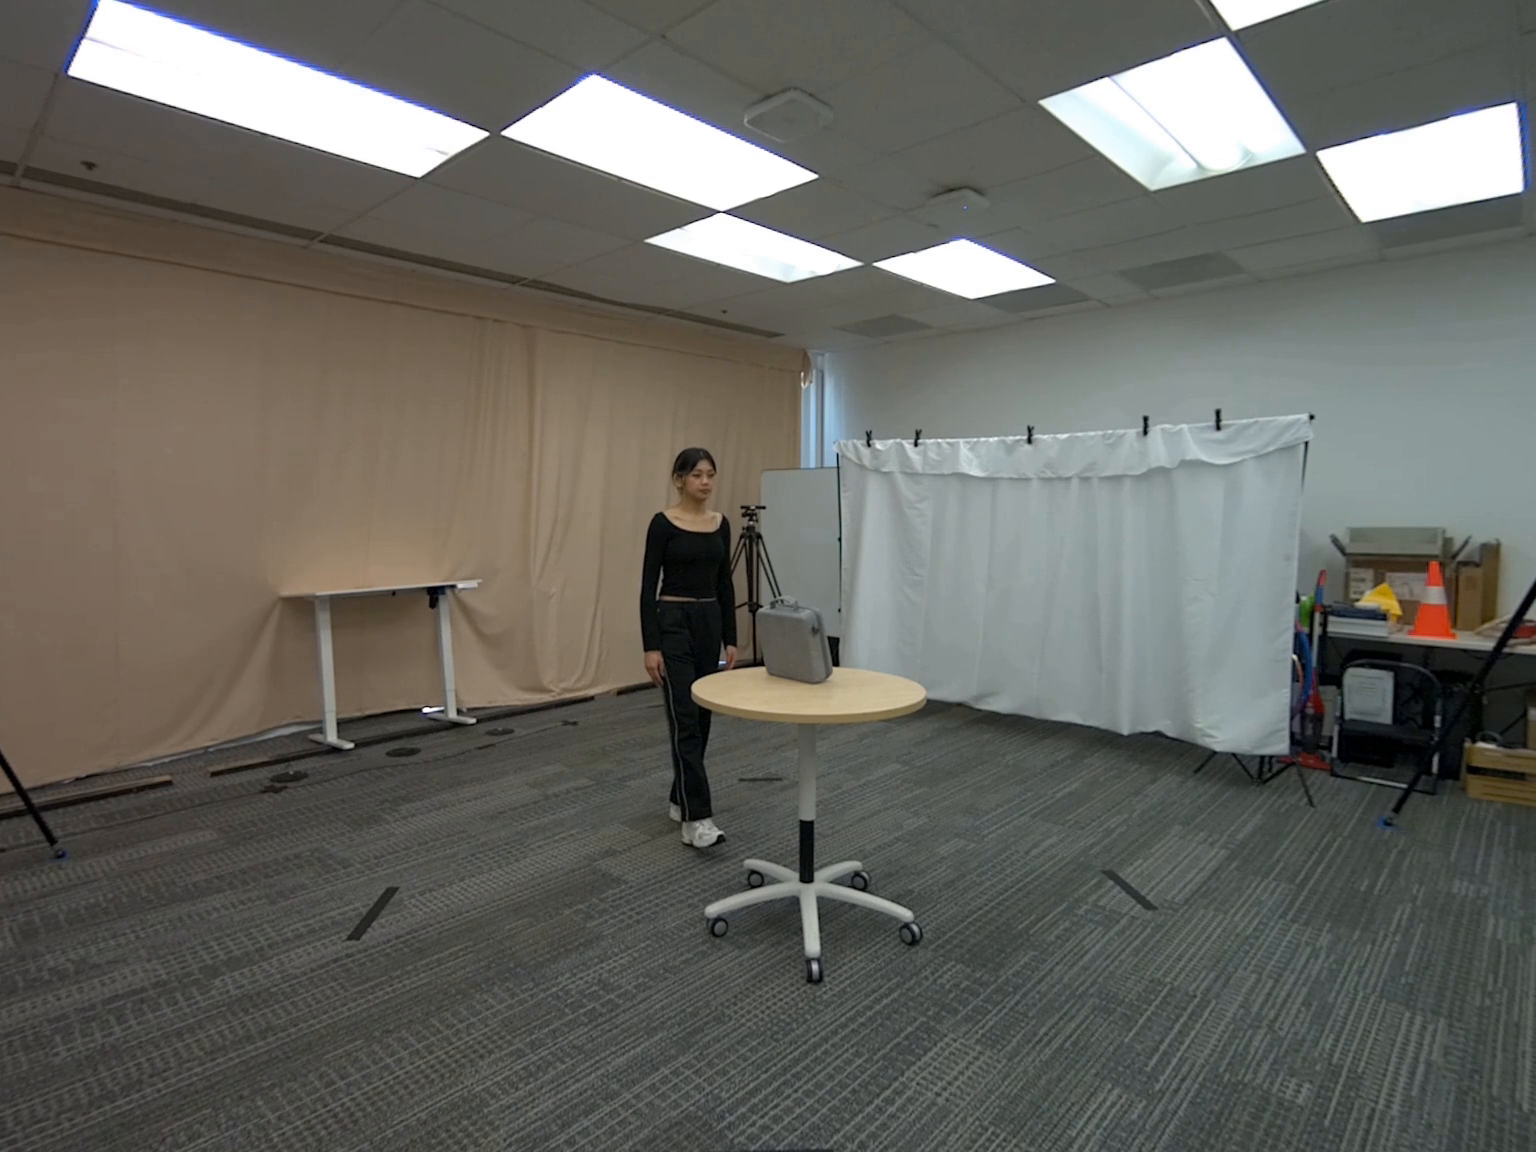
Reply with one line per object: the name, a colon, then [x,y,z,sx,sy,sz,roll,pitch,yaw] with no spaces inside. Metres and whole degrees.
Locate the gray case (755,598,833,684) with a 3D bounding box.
gray case: [0.093,0.227,2.908,0.102,0.258,0.265,-18,13,-38]
